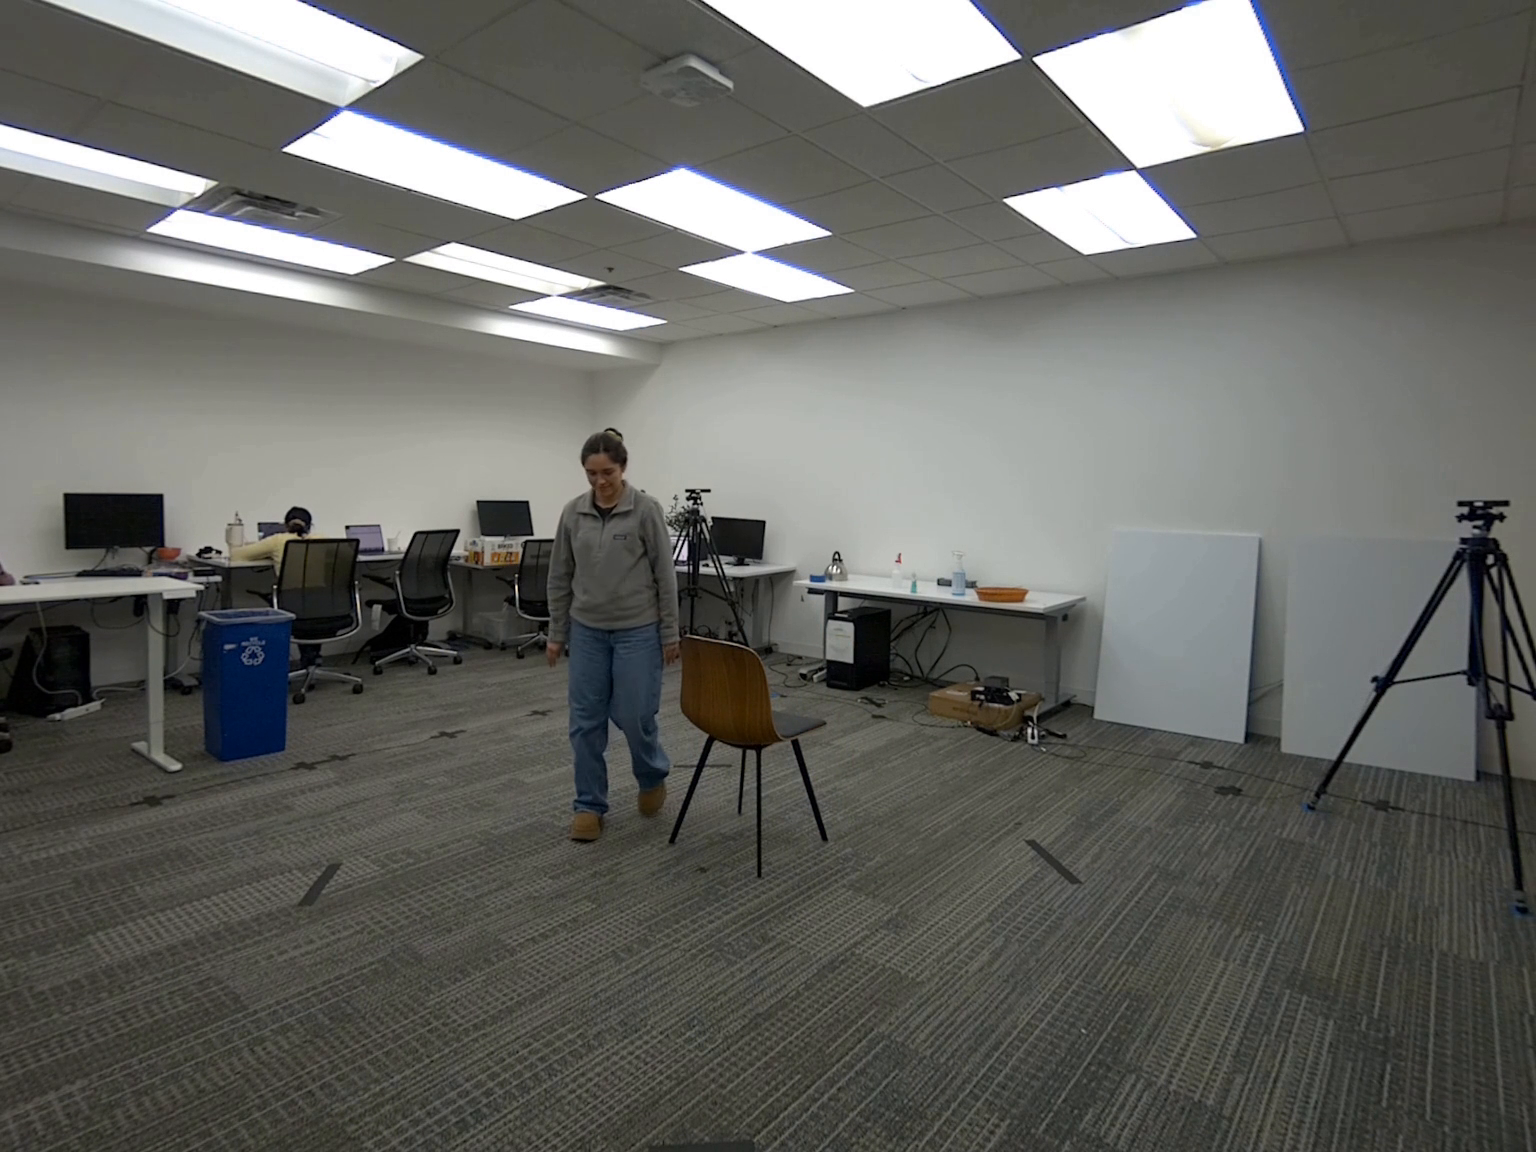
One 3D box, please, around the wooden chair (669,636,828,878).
[{"bbox_3d":[-0.071,0.627,3.344,0.494,0.872,0.509,3,8,38],"label":"wooden chair"}]
